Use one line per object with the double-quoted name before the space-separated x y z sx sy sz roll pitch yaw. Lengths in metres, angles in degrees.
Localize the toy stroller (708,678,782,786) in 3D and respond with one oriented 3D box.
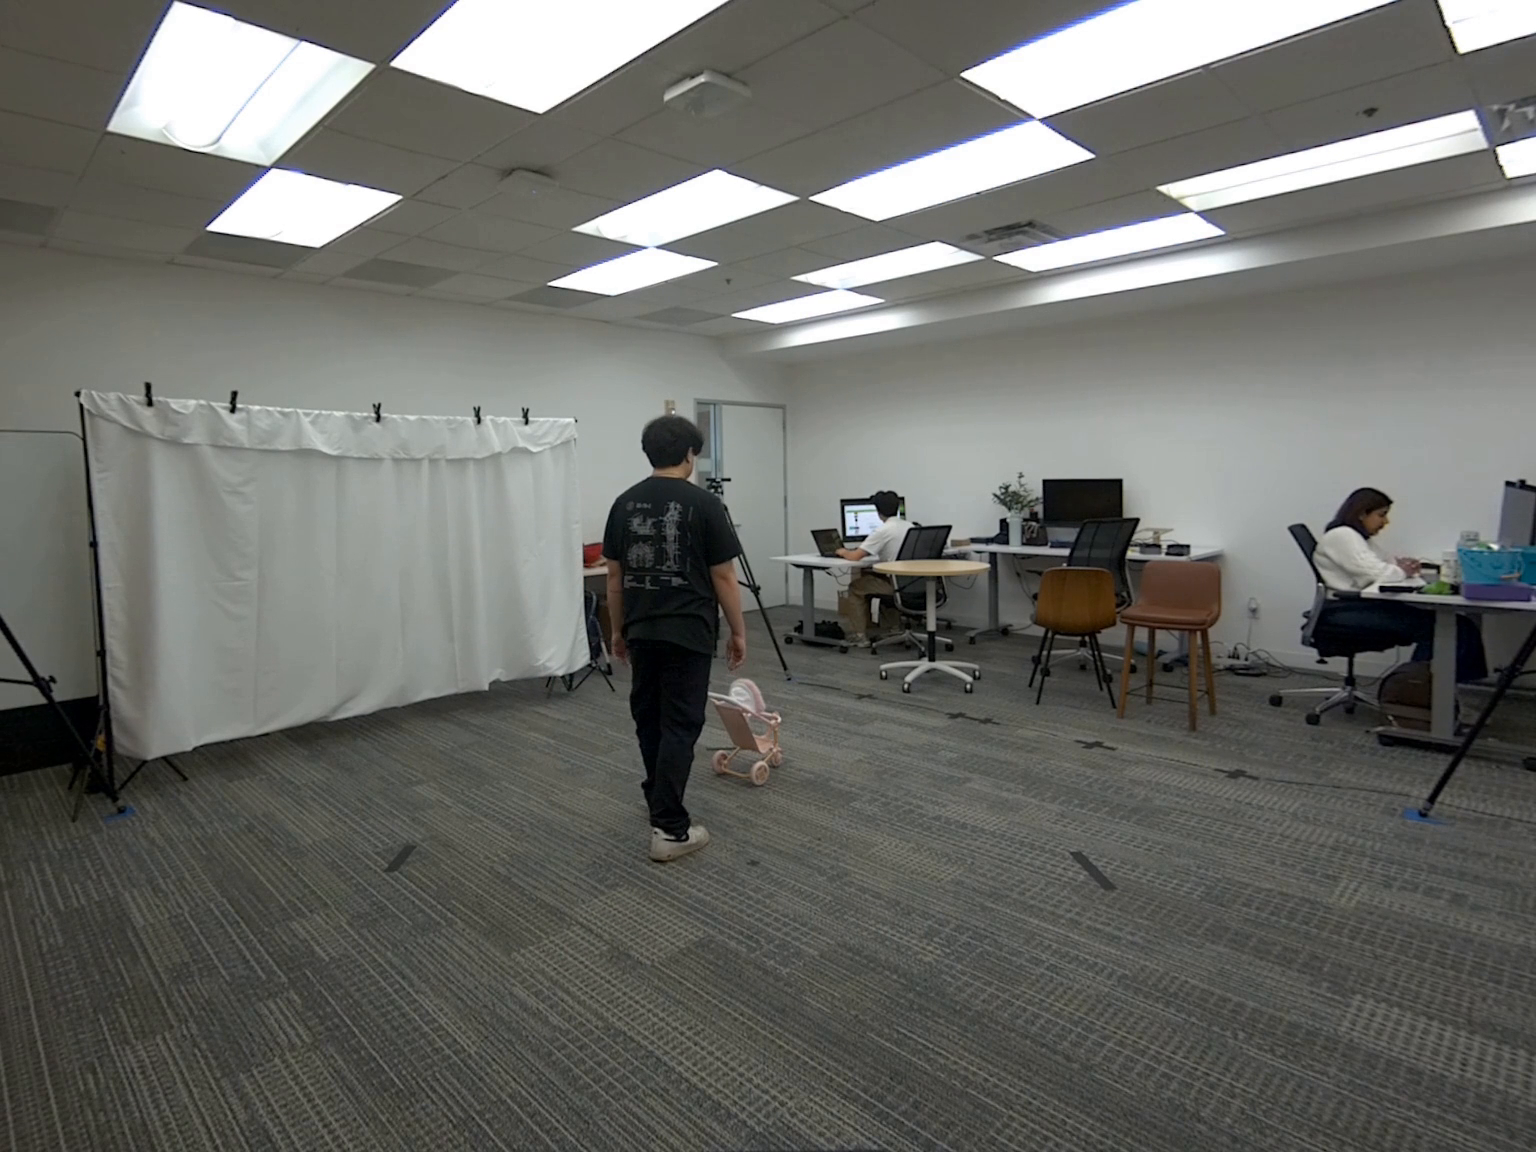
"toy stroller" -0.092 0.716 4.010 0.336 0.527 0.290 -26 19 -39
